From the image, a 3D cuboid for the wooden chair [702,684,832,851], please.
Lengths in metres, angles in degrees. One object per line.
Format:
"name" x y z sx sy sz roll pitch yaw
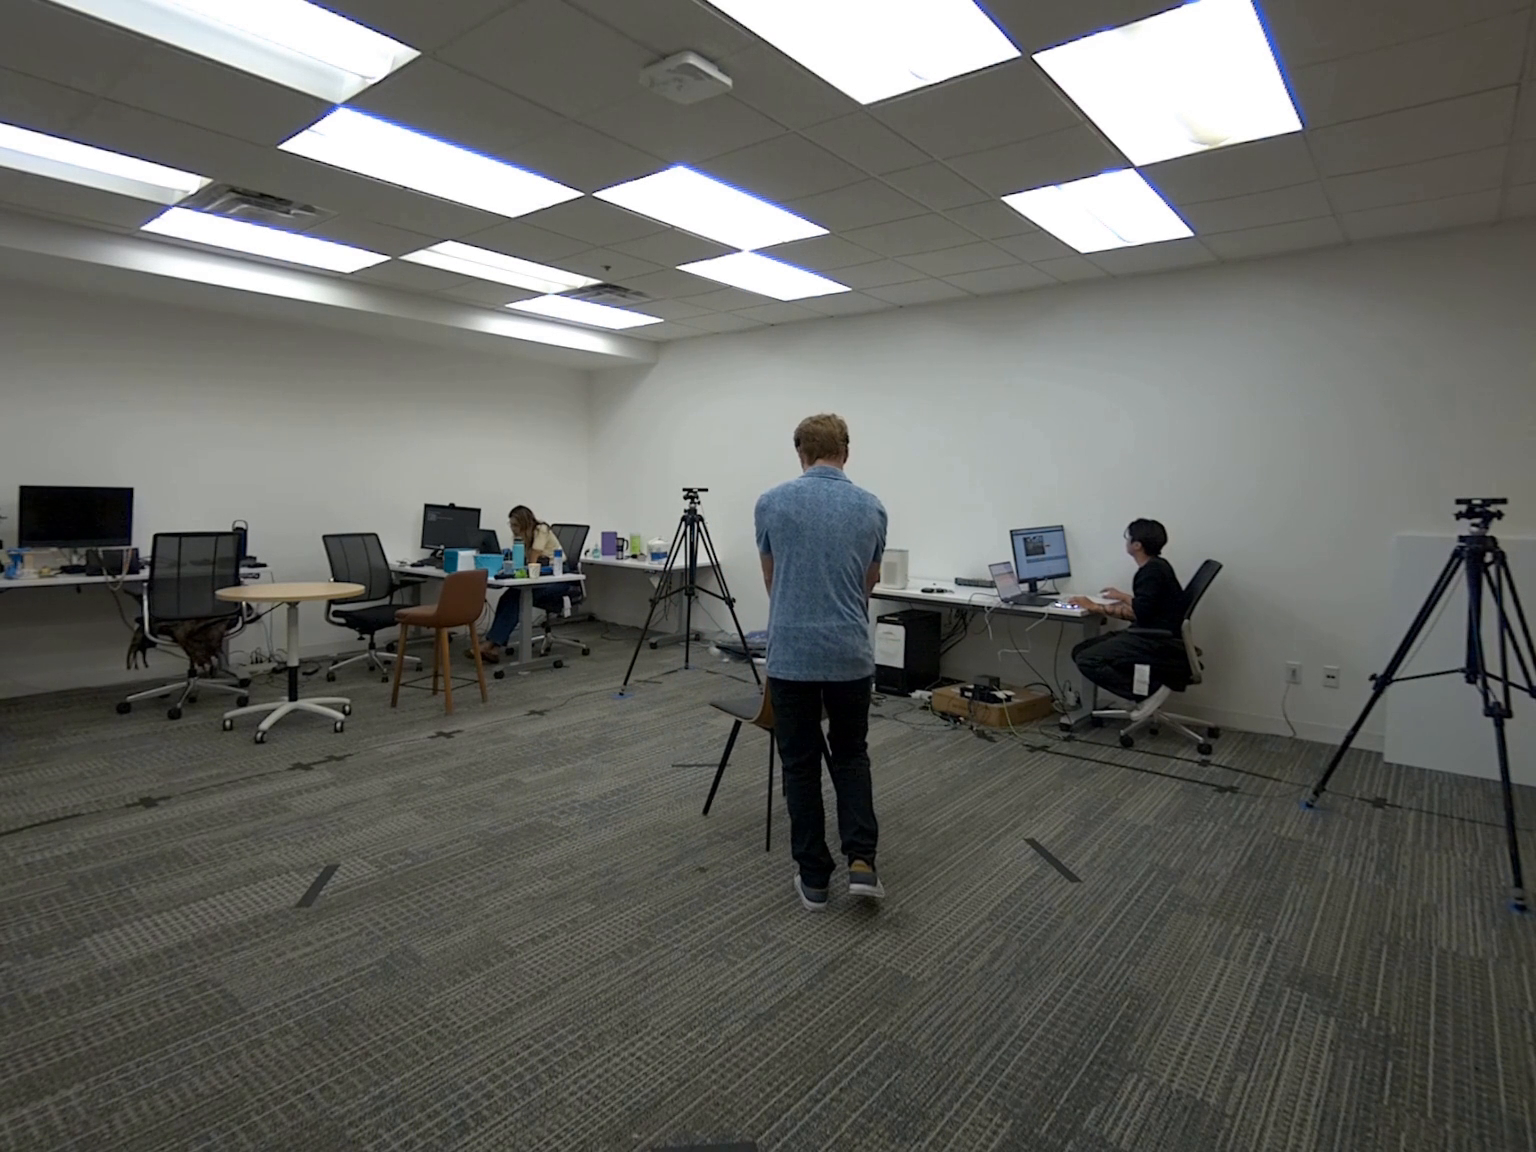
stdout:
"wooden chair" 0.034 0.600 3.556 0.464 0.872 0.542 -1 8 -37
